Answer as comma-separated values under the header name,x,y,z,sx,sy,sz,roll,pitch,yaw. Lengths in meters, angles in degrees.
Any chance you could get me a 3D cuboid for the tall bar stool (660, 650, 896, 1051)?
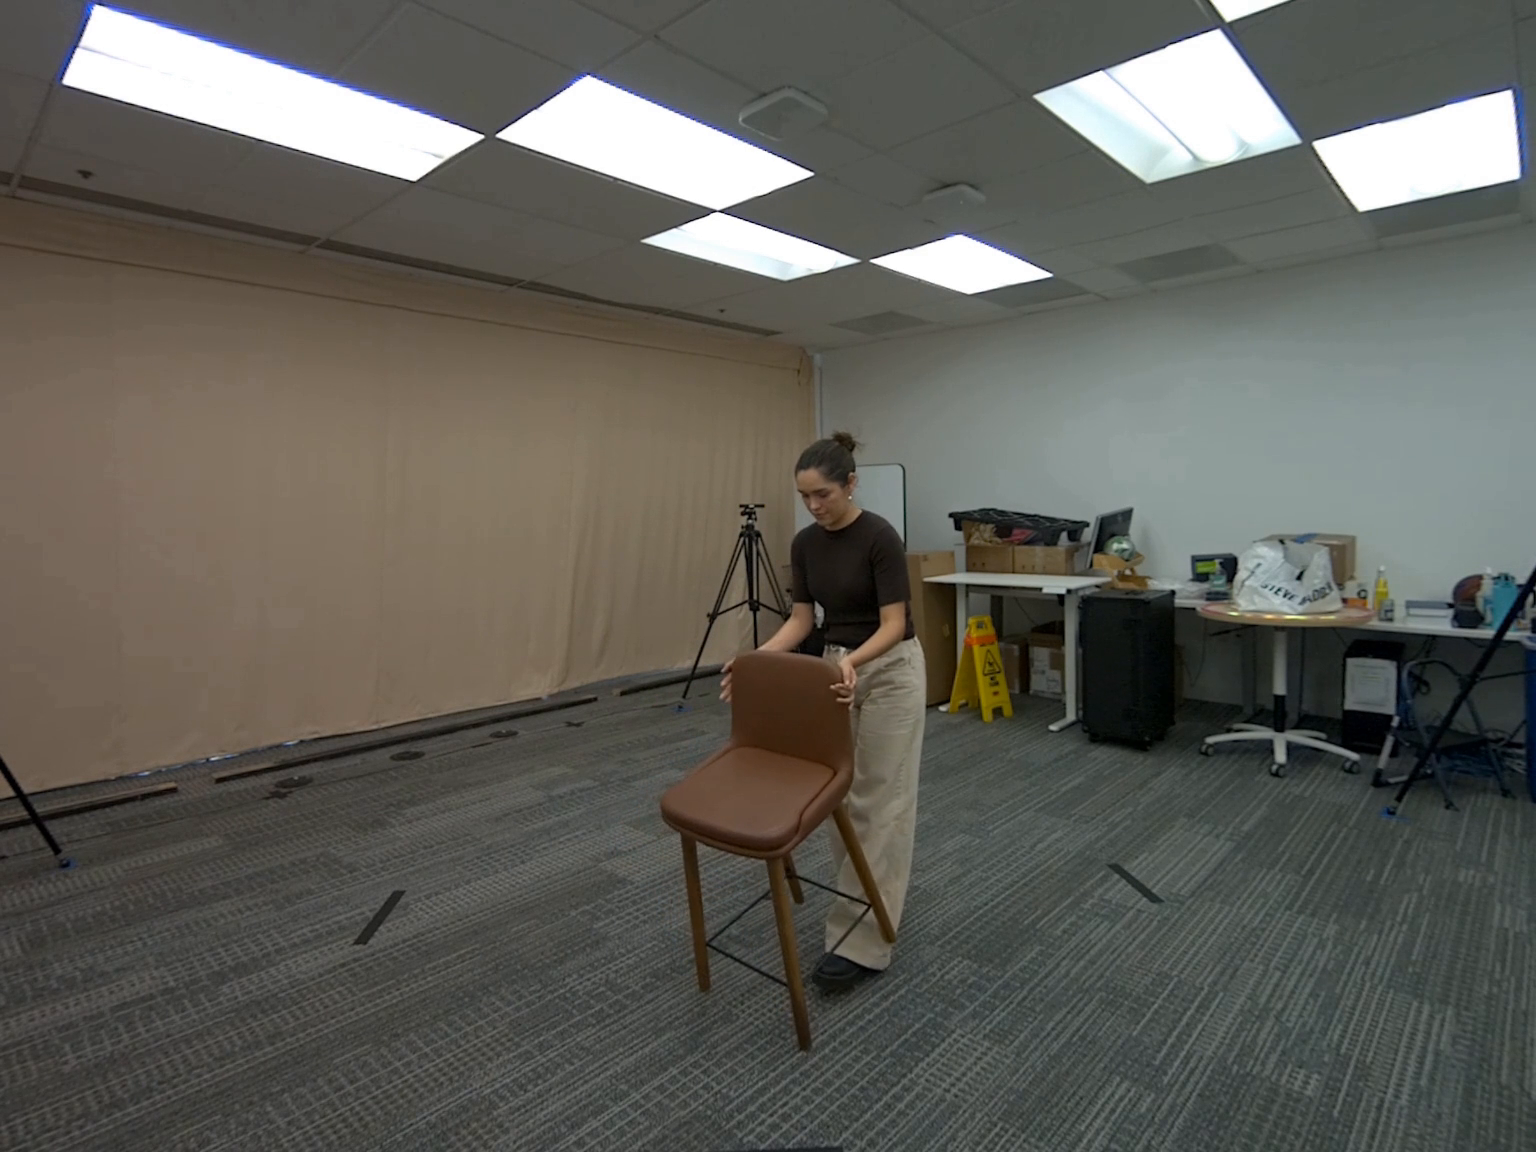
name,x,y,z,sx,sy,sz,roll,pitch,yaw
tall bar stool,0.012,0.717,2.317,0.472,0.881,0.457,3,18,45
